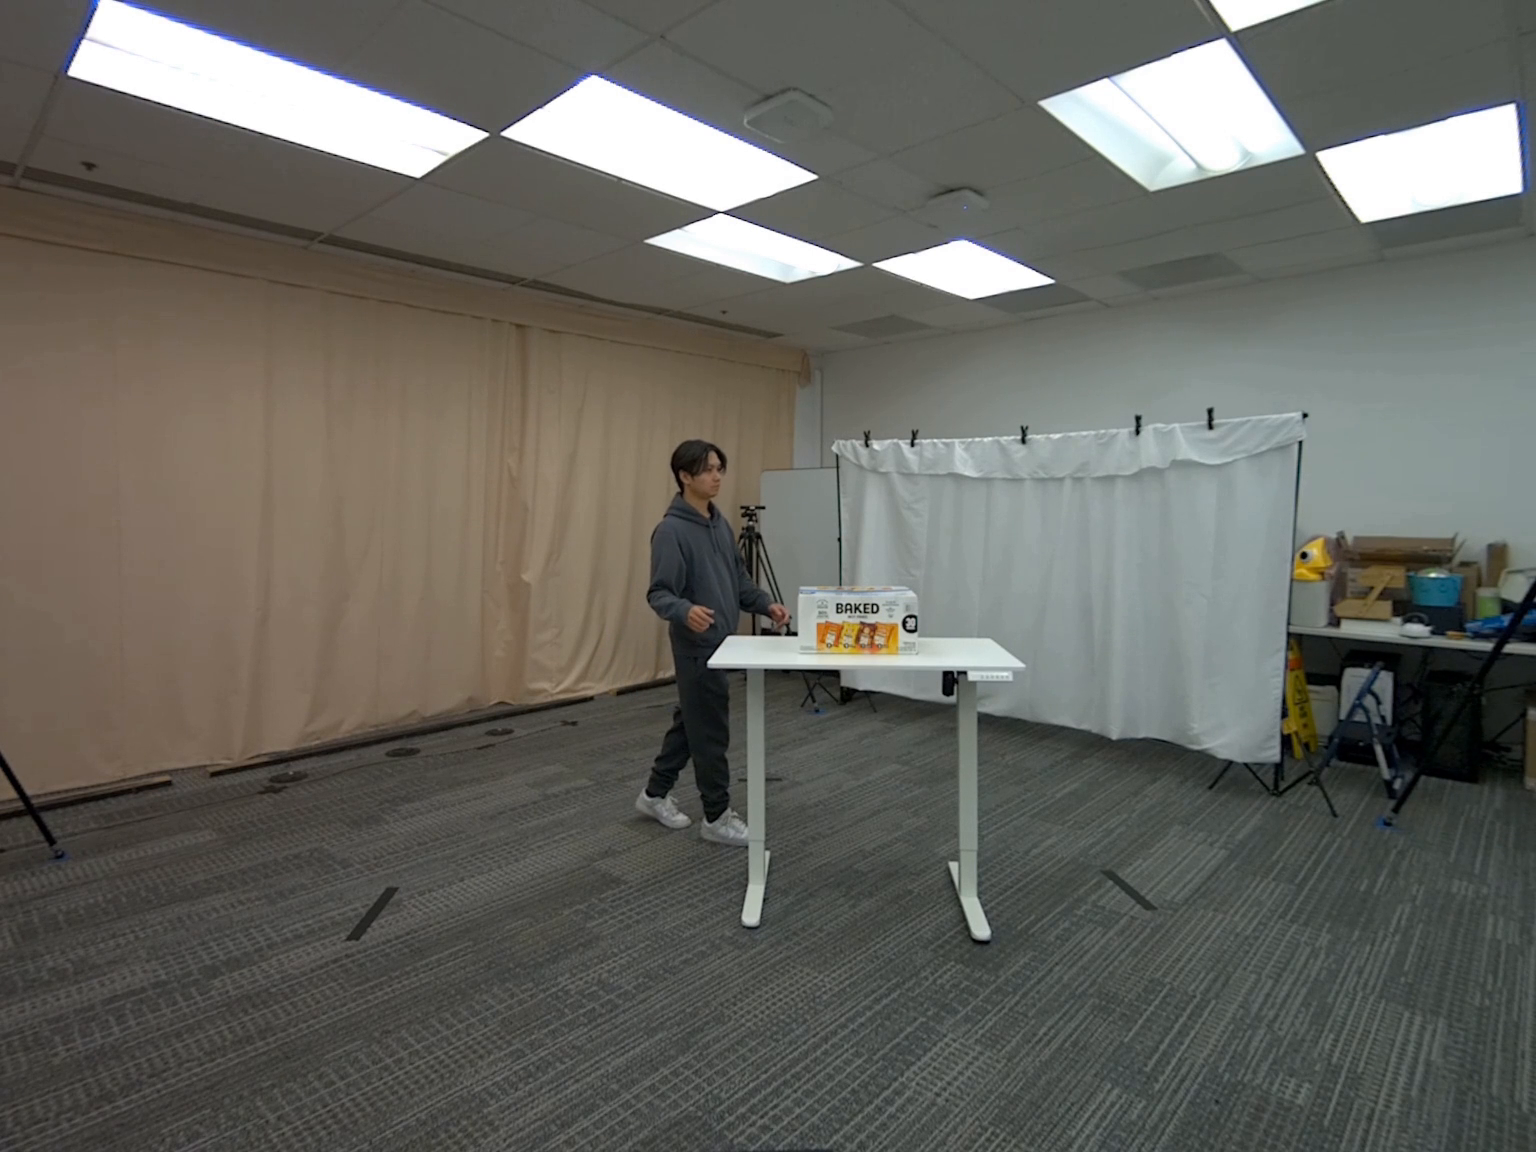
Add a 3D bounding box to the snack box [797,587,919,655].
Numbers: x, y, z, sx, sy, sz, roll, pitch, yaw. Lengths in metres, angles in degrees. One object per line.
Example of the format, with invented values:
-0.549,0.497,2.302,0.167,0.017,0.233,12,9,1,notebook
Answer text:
0.320,0.155,3.039,0.408,0.205,0.339,0,3,5,snack box
